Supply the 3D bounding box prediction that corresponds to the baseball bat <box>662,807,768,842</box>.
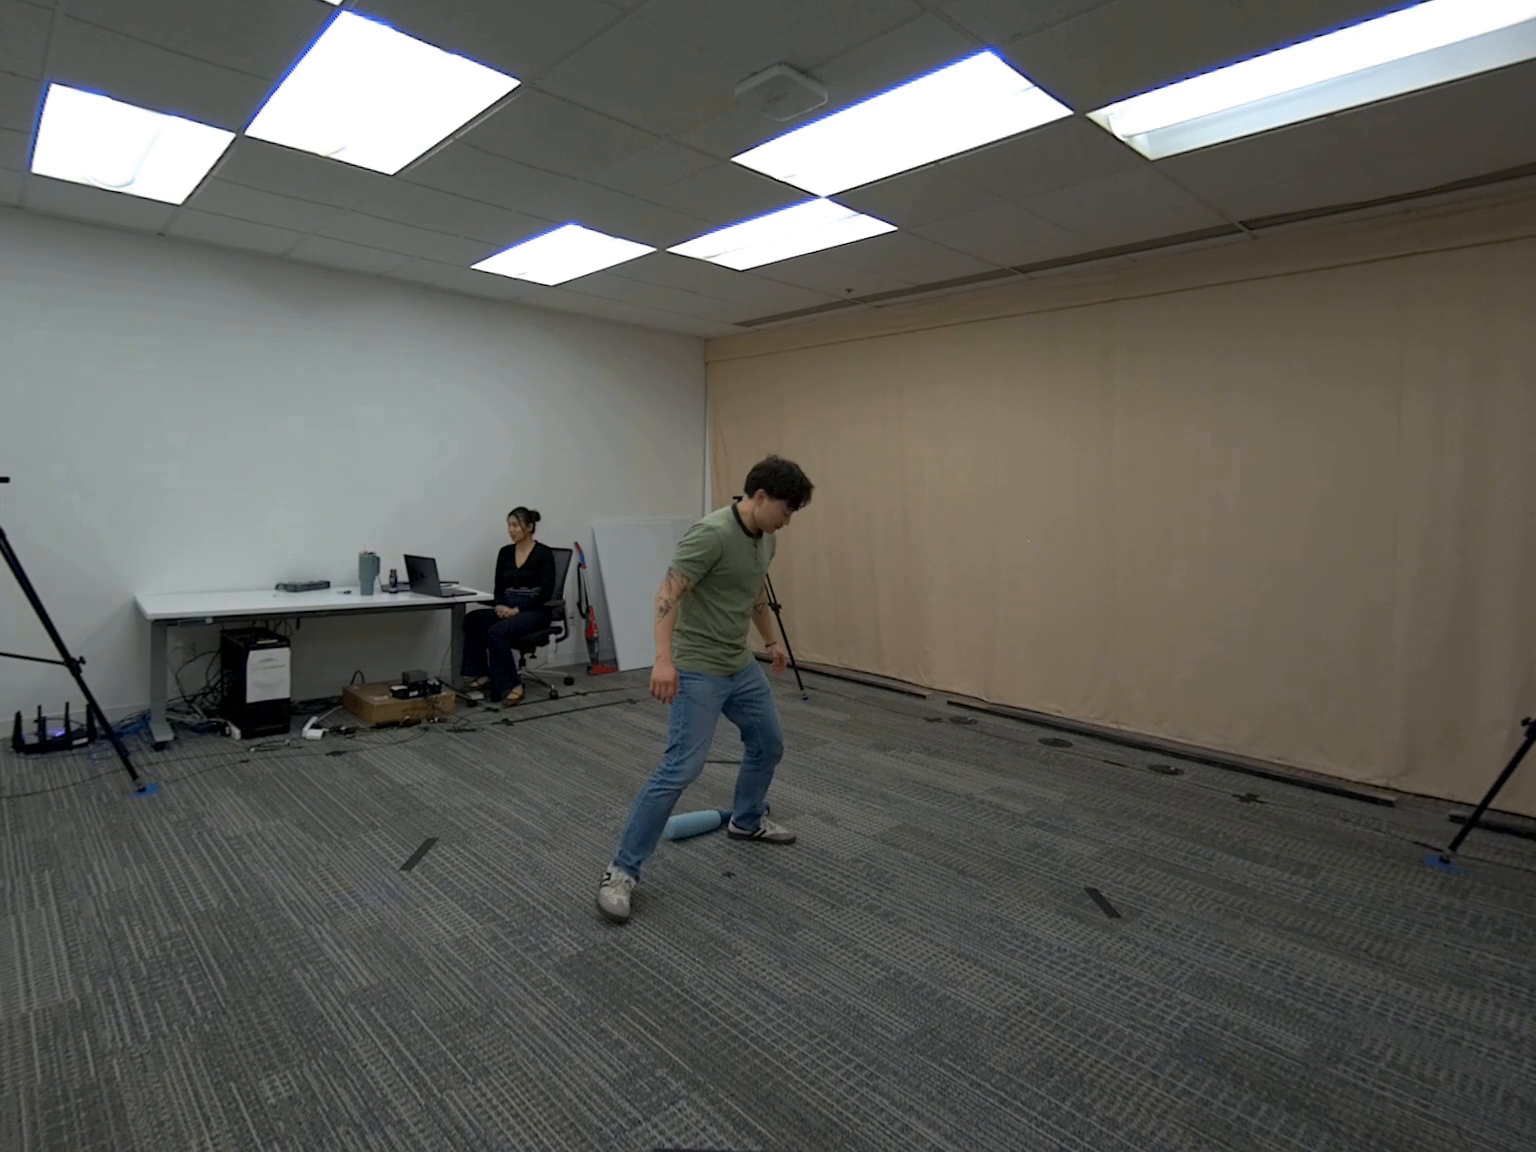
[{"bbox_3d":[-0.215,1.026,3.560,0.530,0.089,0.091,2,3,-41],"label":"baseball bat"}]
